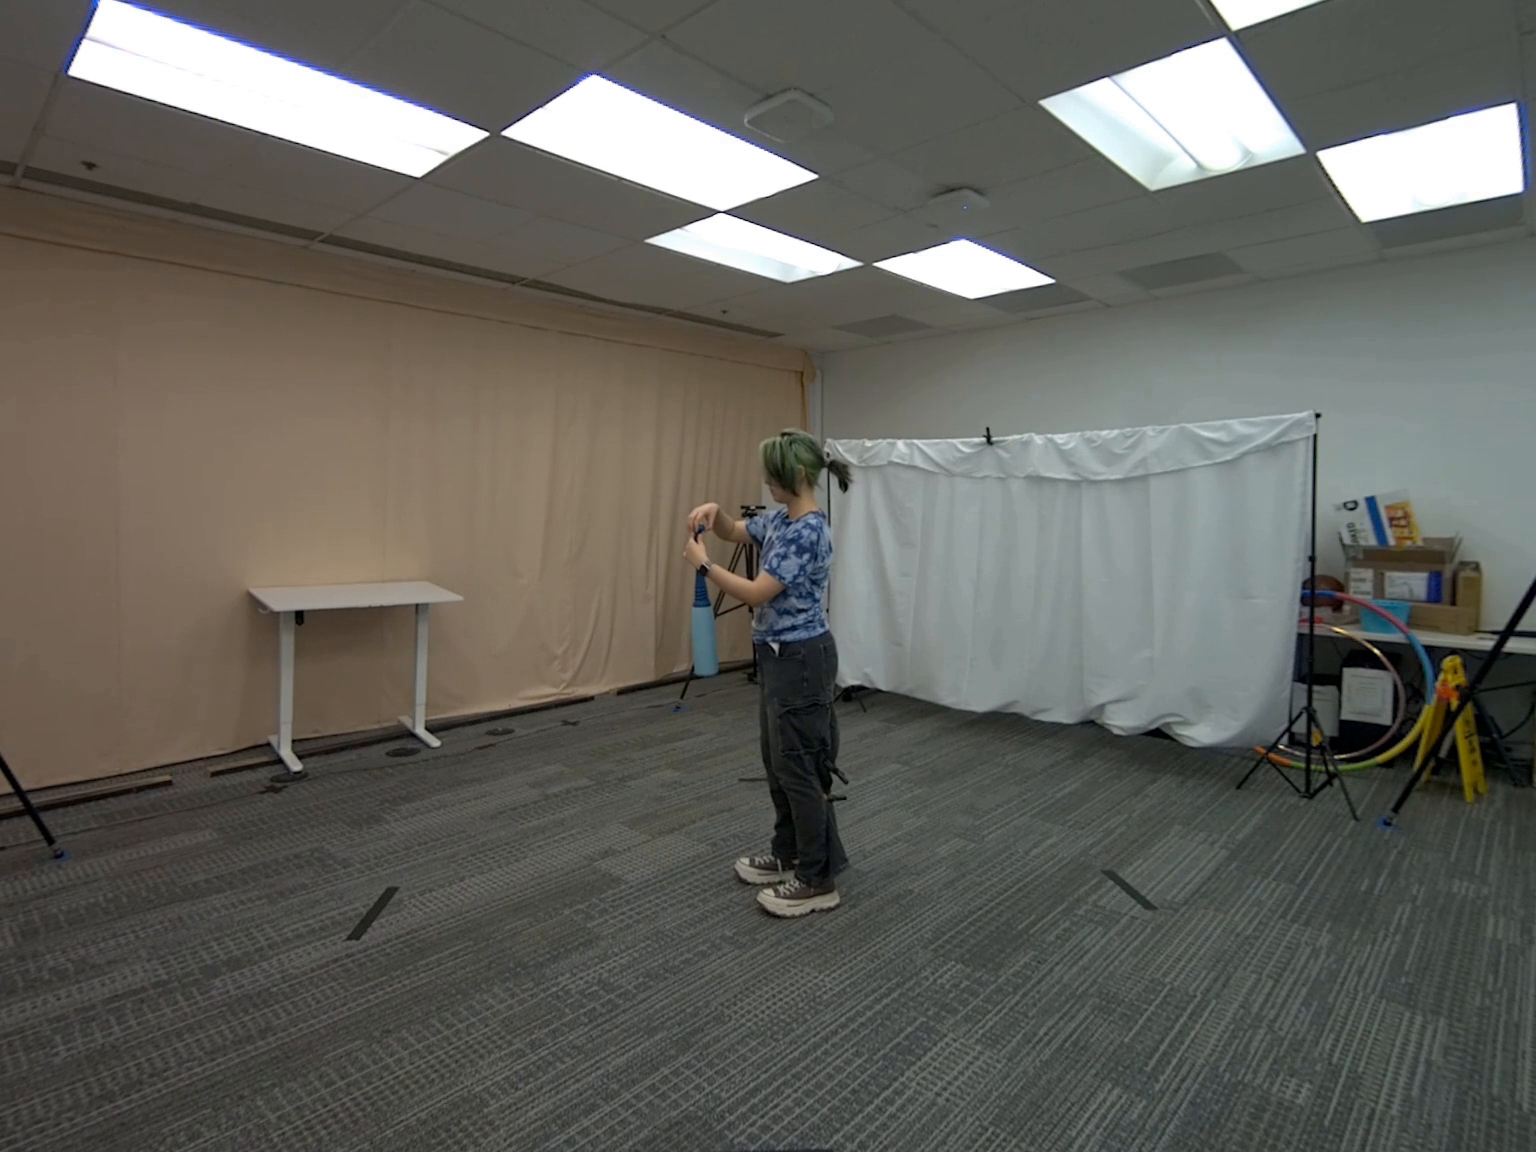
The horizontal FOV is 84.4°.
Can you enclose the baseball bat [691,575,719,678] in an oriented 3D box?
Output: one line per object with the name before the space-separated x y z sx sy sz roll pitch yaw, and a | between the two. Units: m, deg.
baseball bat | -0.243 0.093 3.053 0.089 0.543 0.089 -4 0 -2
